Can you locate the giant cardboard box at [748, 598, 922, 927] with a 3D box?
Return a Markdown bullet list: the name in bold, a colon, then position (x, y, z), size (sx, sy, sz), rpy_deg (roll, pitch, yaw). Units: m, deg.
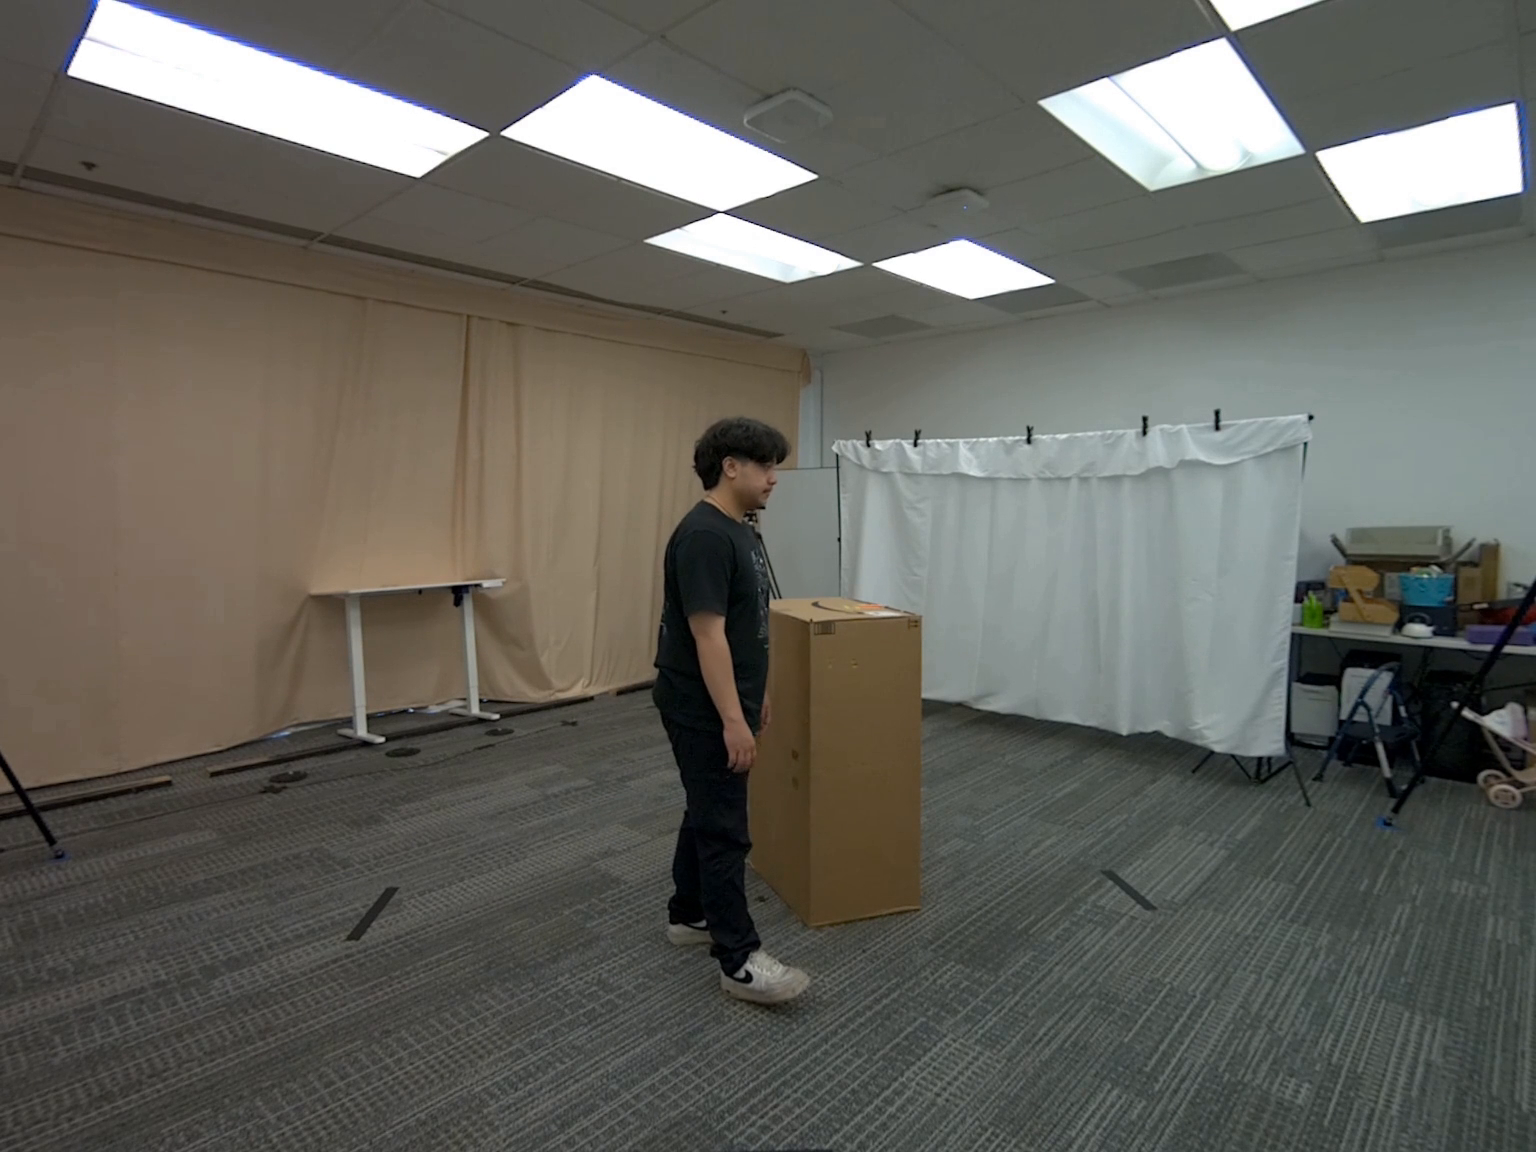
- **giant cardboard box**: position (0.230, 0.623, 3.081), size (0.438, 1.025, 0.597), rpy_deg (-1, 3, -21)
